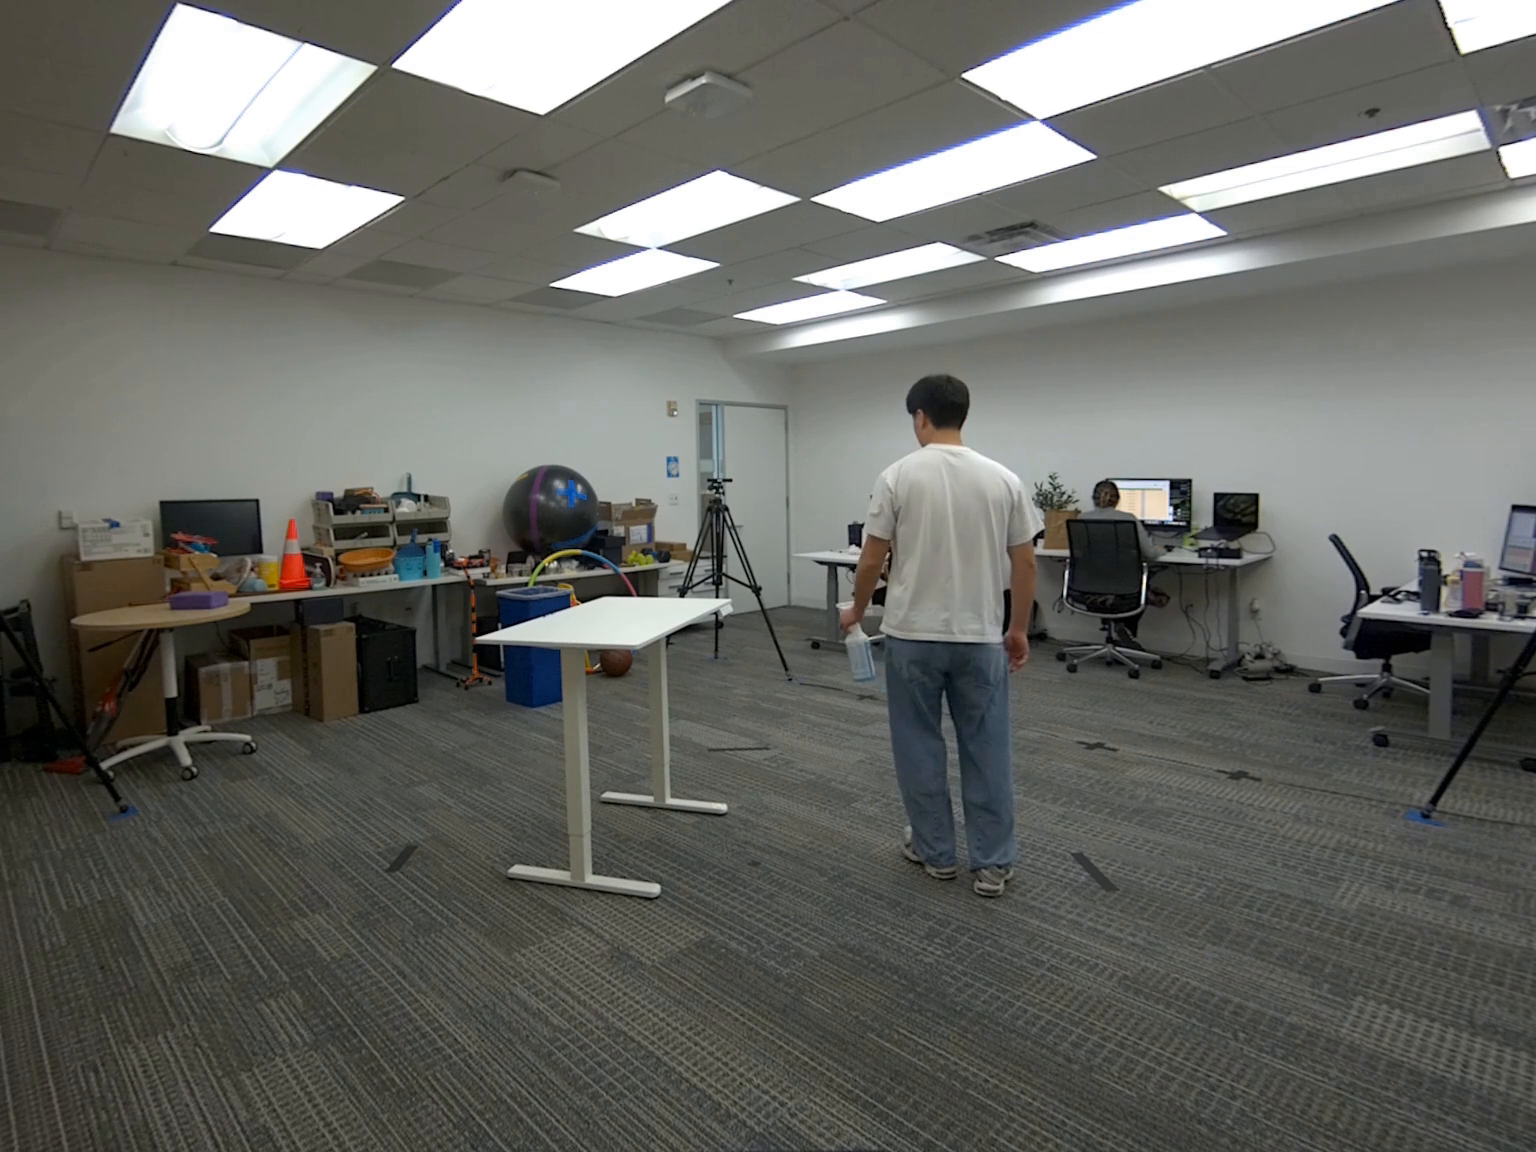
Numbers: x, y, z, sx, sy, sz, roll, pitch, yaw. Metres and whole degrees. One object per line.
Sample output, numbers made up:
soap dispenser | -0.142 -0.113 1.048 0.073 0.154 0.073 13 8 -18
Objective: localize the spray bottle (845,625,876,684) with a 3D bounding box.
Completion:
spray bottle | 0.324 0.236 3.190 0.085 0.298 0.092 -10 -4 -38
